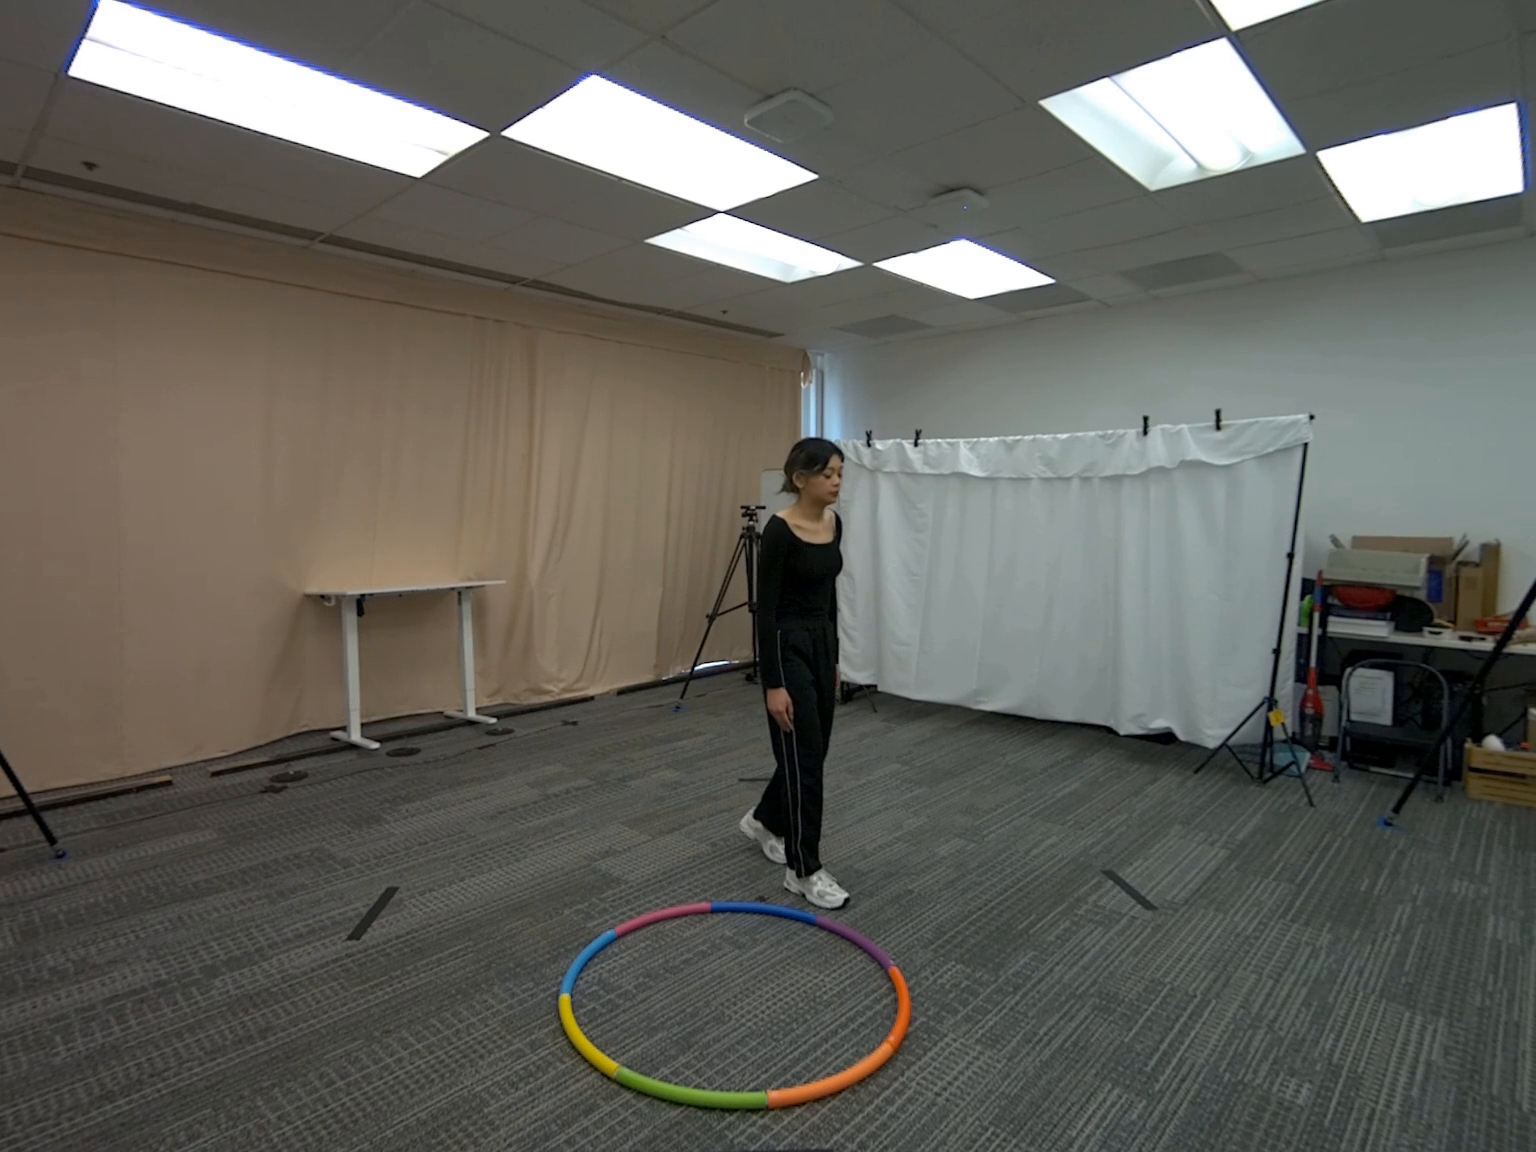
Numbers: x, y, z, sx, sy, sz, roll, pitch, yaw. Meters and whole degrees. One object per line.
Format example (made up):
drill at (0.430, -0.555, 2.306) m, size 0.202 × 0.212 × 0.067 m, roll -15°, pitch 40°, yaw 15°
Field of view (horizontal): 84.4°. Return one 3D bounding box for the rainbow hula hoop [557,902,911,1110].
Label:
rainbow hula hoop at (-0.096, 1.163, 2.422) m, size 0.978 × 0.035 × 0.982 m, roll 0°, pitch 4°, yaw -2°
